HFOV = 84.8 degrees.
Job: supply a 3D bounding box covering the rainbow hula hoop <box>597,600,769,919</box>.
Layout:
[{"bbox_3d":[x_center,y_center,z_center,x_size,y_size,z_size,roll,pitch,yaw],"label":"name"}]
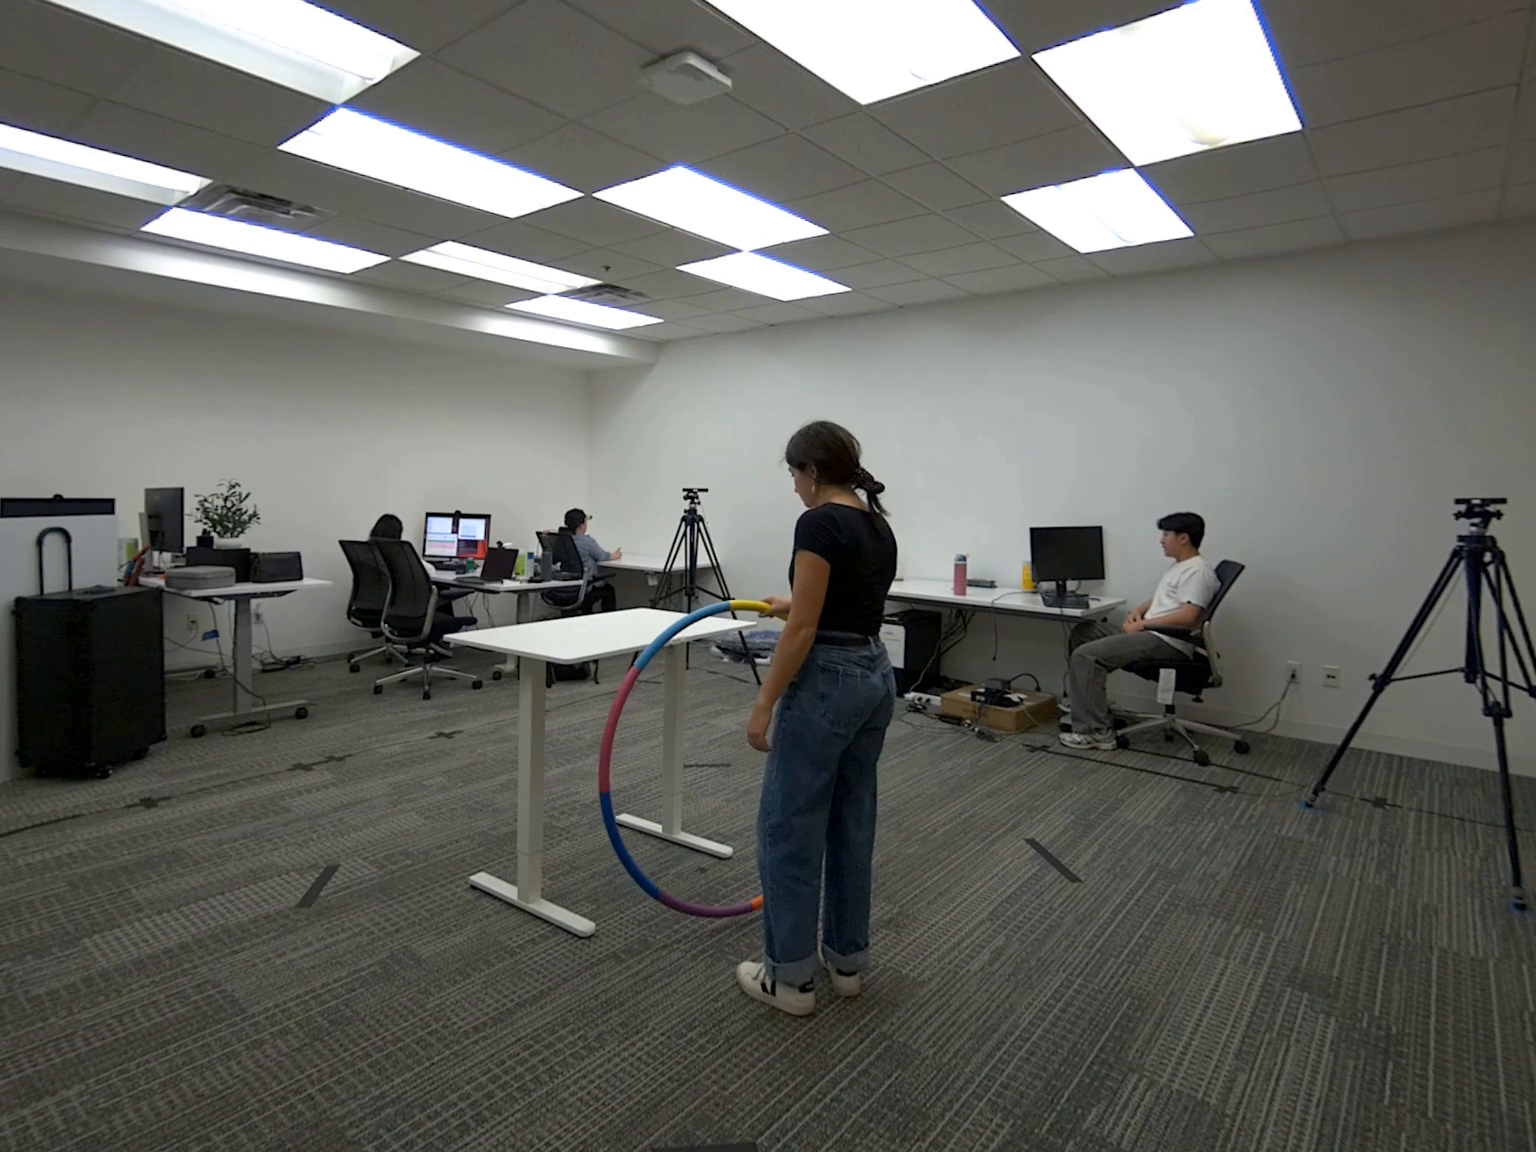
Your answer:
[{"bbox_3d":[-0.086,0.573,2.718,0.951,0.979,0.036,-2,-1,-33],"label":"rainbow hula hoop"}]
